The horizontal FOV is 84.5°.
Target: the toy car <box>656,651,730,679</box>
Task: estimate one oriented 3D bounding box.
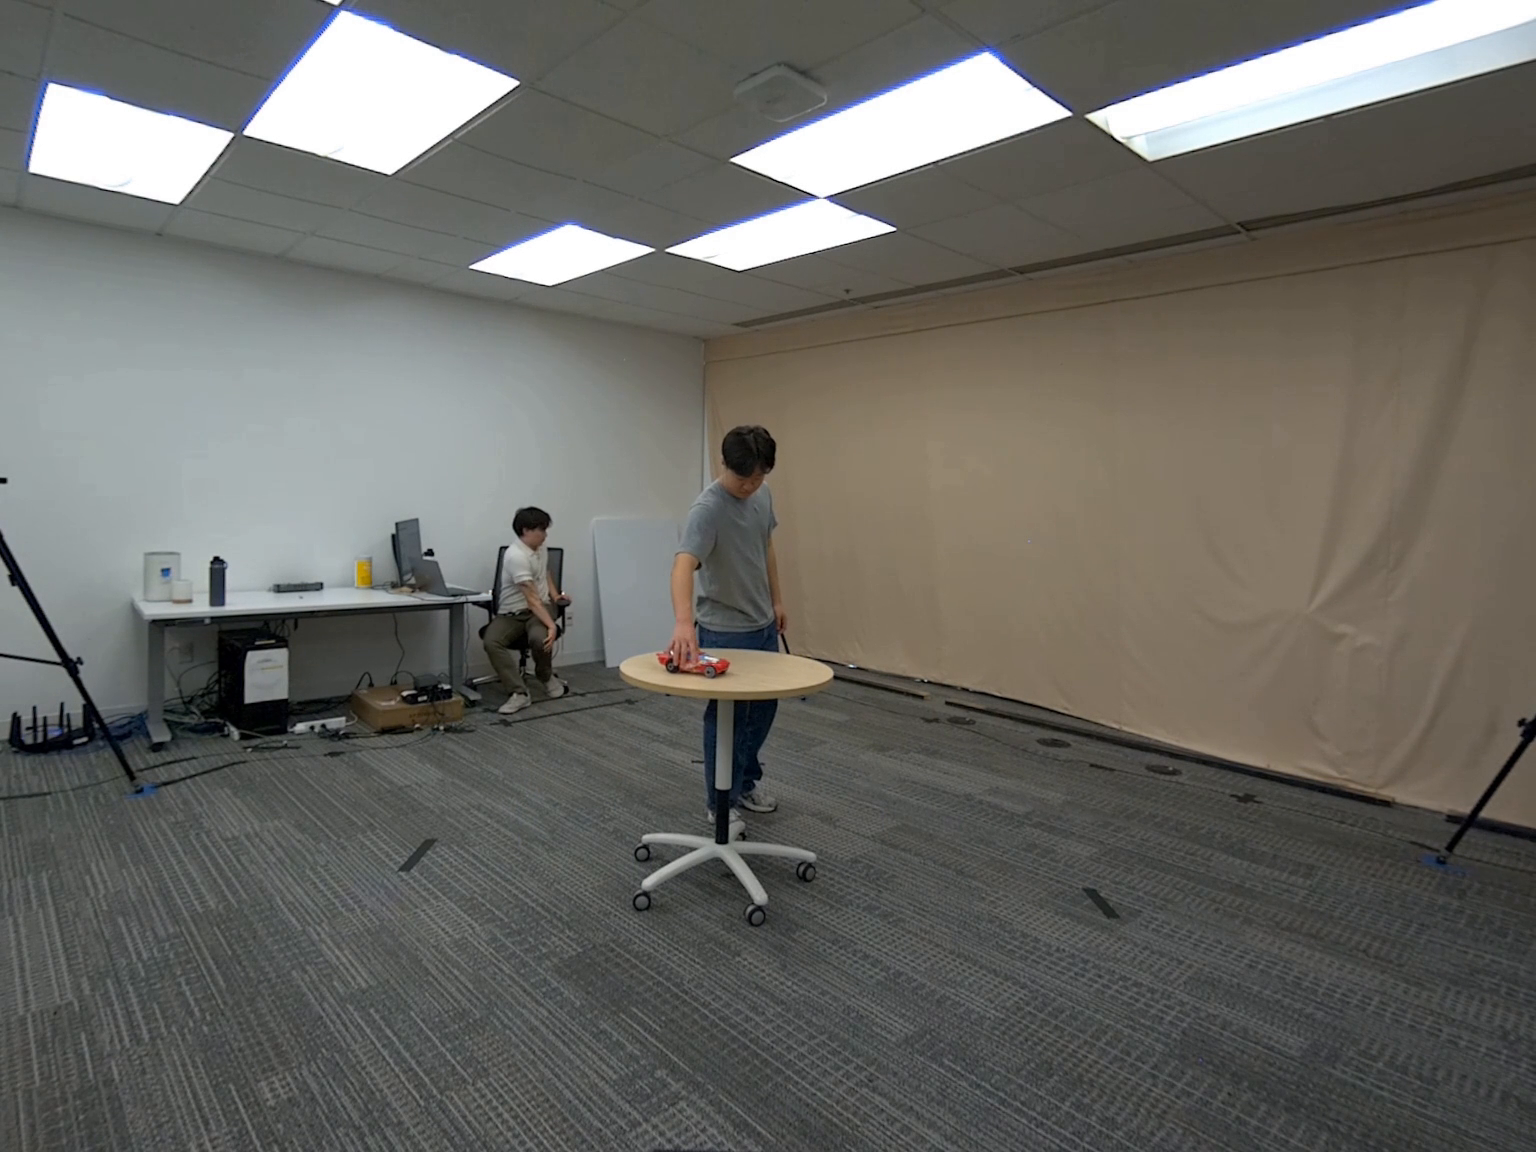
[{"bbox_3d":[-0.277,0.304,2.920,0.260,0.083,0.128,15,10,22],"label":"toy car"}]
